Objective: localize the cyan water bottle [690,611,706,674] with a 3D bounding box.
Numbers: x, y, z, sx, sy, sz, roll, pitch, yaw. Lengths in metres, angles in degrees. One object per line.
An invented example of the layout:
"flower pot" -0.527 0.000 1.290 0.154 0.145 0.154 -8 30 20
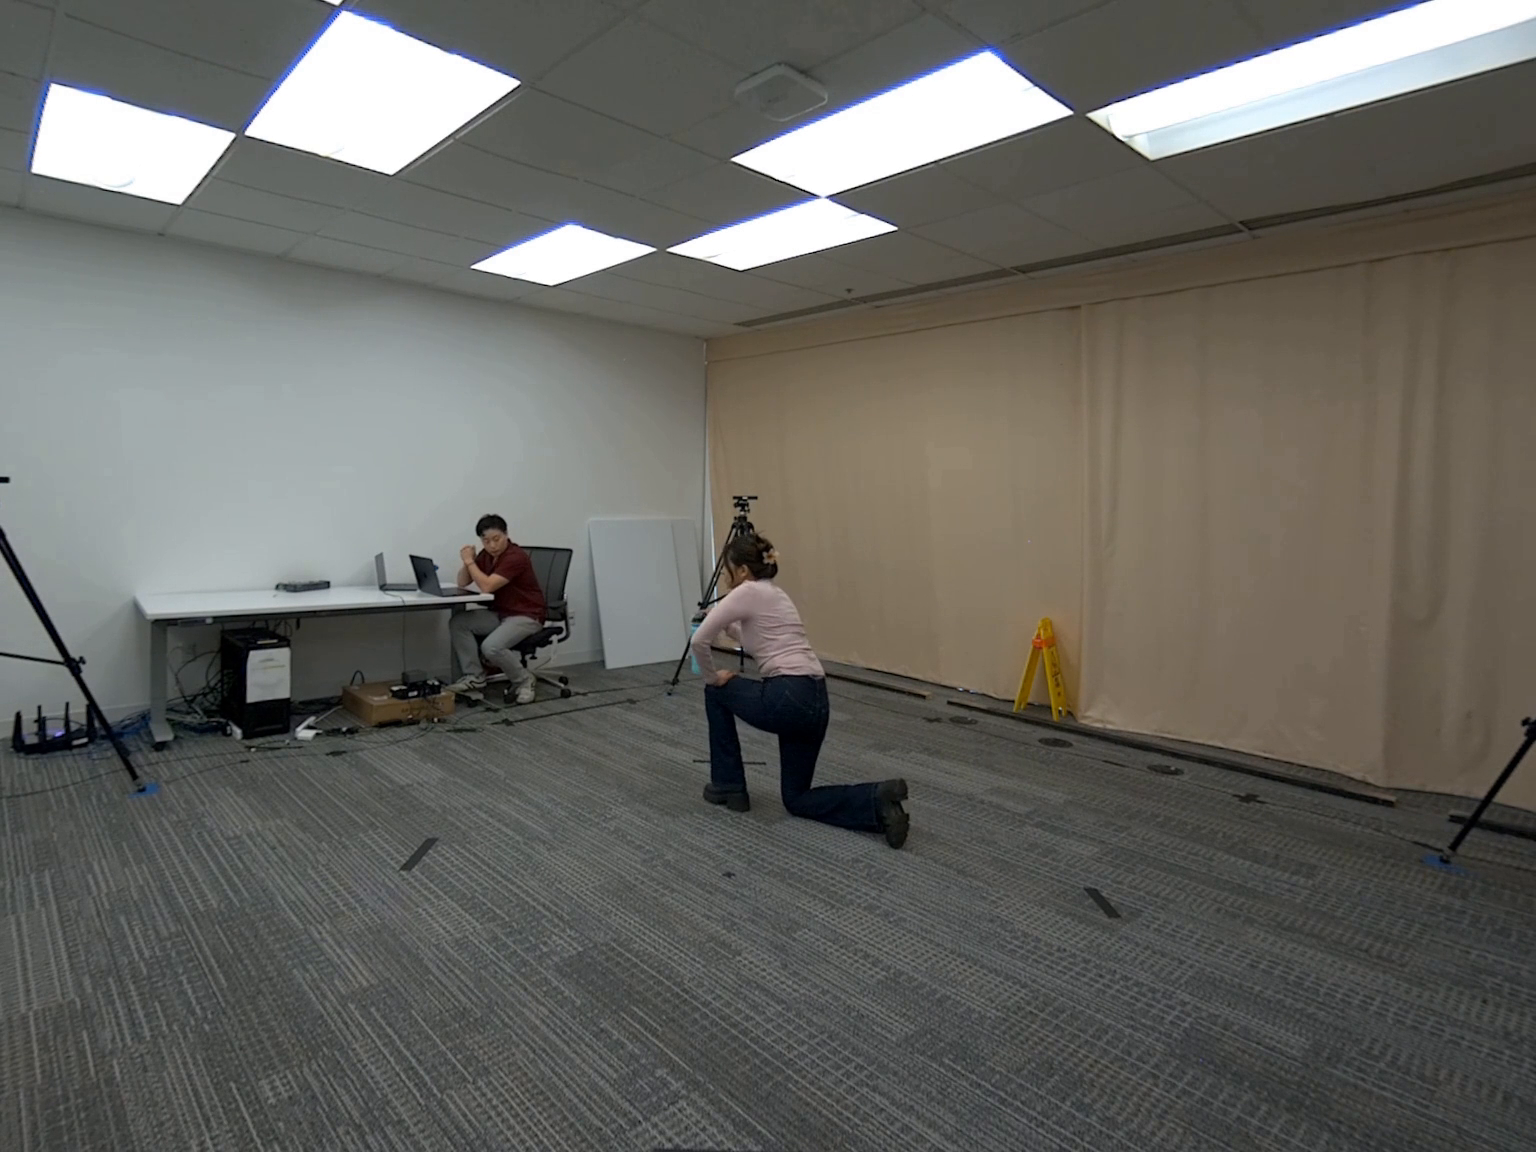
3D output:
"cyan water bottle" -0.317 0.309 3.984 0.092 0.282 0.092 -2 4 -1
